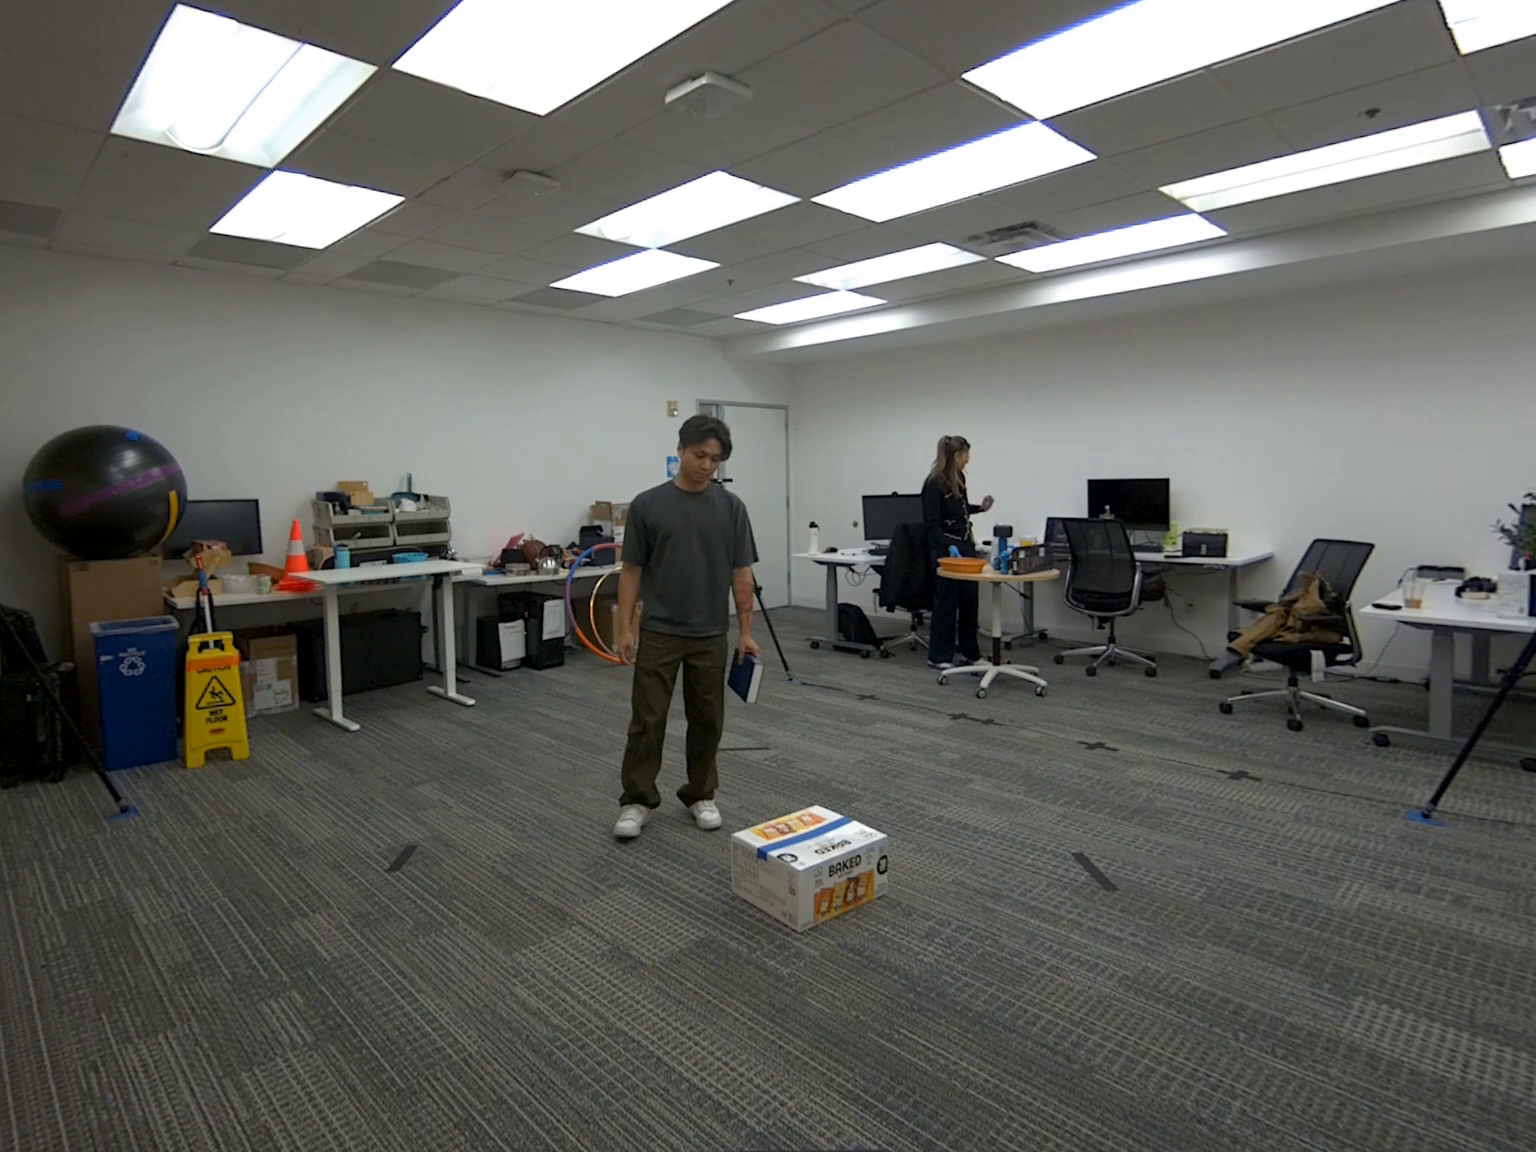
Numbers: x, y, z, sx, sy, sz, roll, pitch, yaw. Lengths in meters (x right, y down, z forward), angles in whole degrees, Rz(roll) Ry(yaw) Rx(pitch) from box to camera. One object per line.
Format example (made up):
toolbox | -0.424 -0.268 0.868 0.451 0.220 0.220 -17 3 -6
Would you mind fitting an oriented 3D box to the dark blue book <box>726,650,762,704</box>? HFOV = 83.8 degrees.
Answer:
dark blue book | -0.093 0.386 3.425 0.044 0.163 0.251 9 6 -20
